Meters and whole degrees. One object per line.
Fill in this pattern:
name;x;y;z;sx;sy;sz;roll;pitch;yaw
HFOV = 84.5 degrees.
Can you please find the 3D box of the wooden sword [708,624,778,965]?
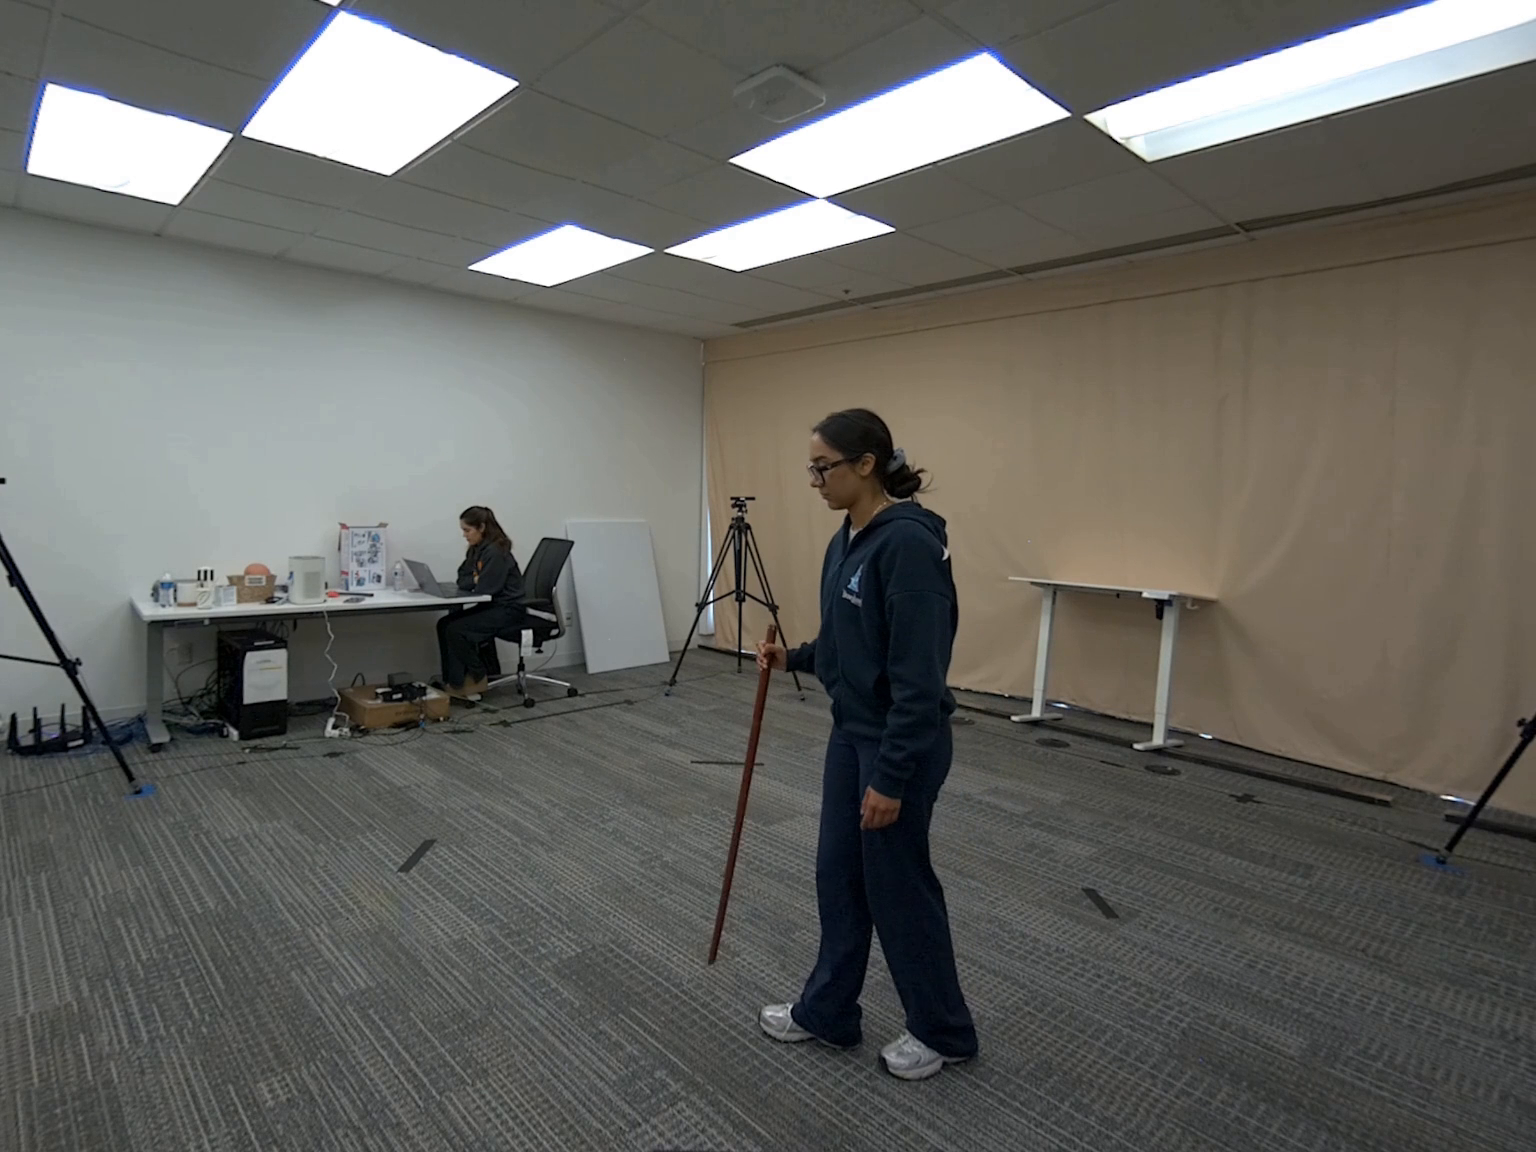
wooden sword;-0.065;0.653;2.368;0.023;1.021;0.052;6;7;-29
